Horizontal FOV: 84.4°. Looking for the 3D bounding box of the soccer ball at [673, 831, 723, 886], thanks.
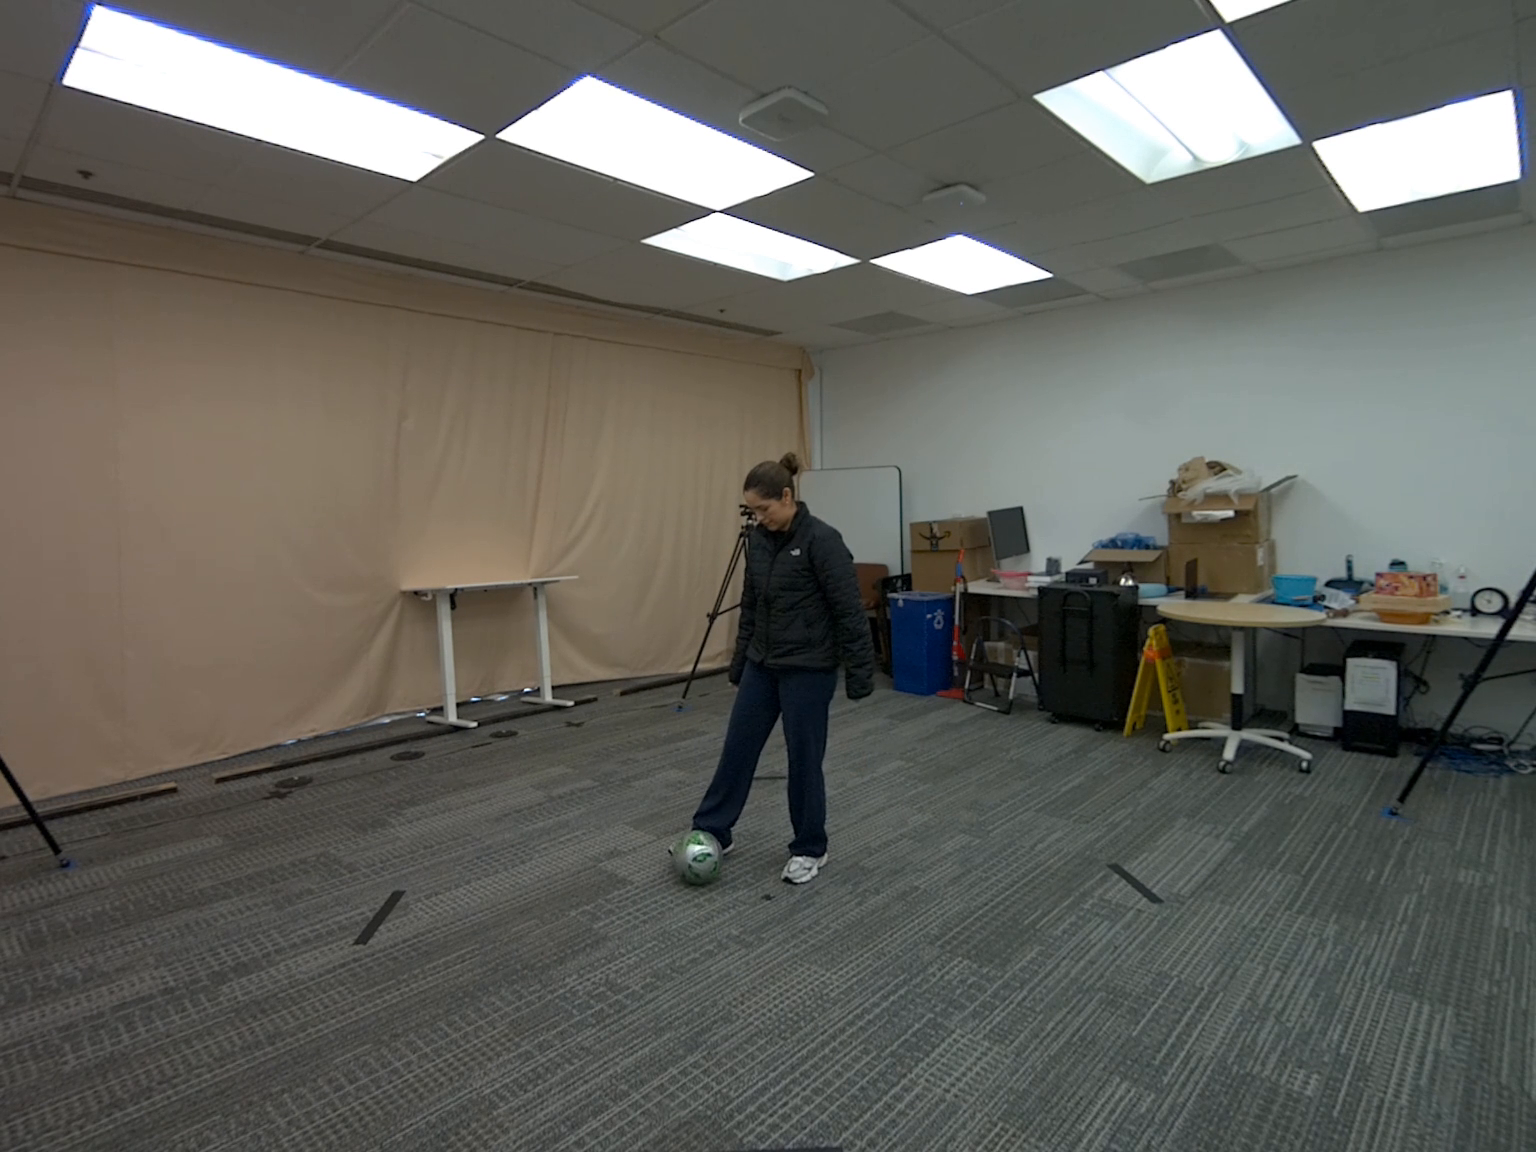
[{"bbox_3d":[-0.258,1.037,3.124,0.187,0.187,0.188,-1,4,-2],"label":"soccer ball"}]
